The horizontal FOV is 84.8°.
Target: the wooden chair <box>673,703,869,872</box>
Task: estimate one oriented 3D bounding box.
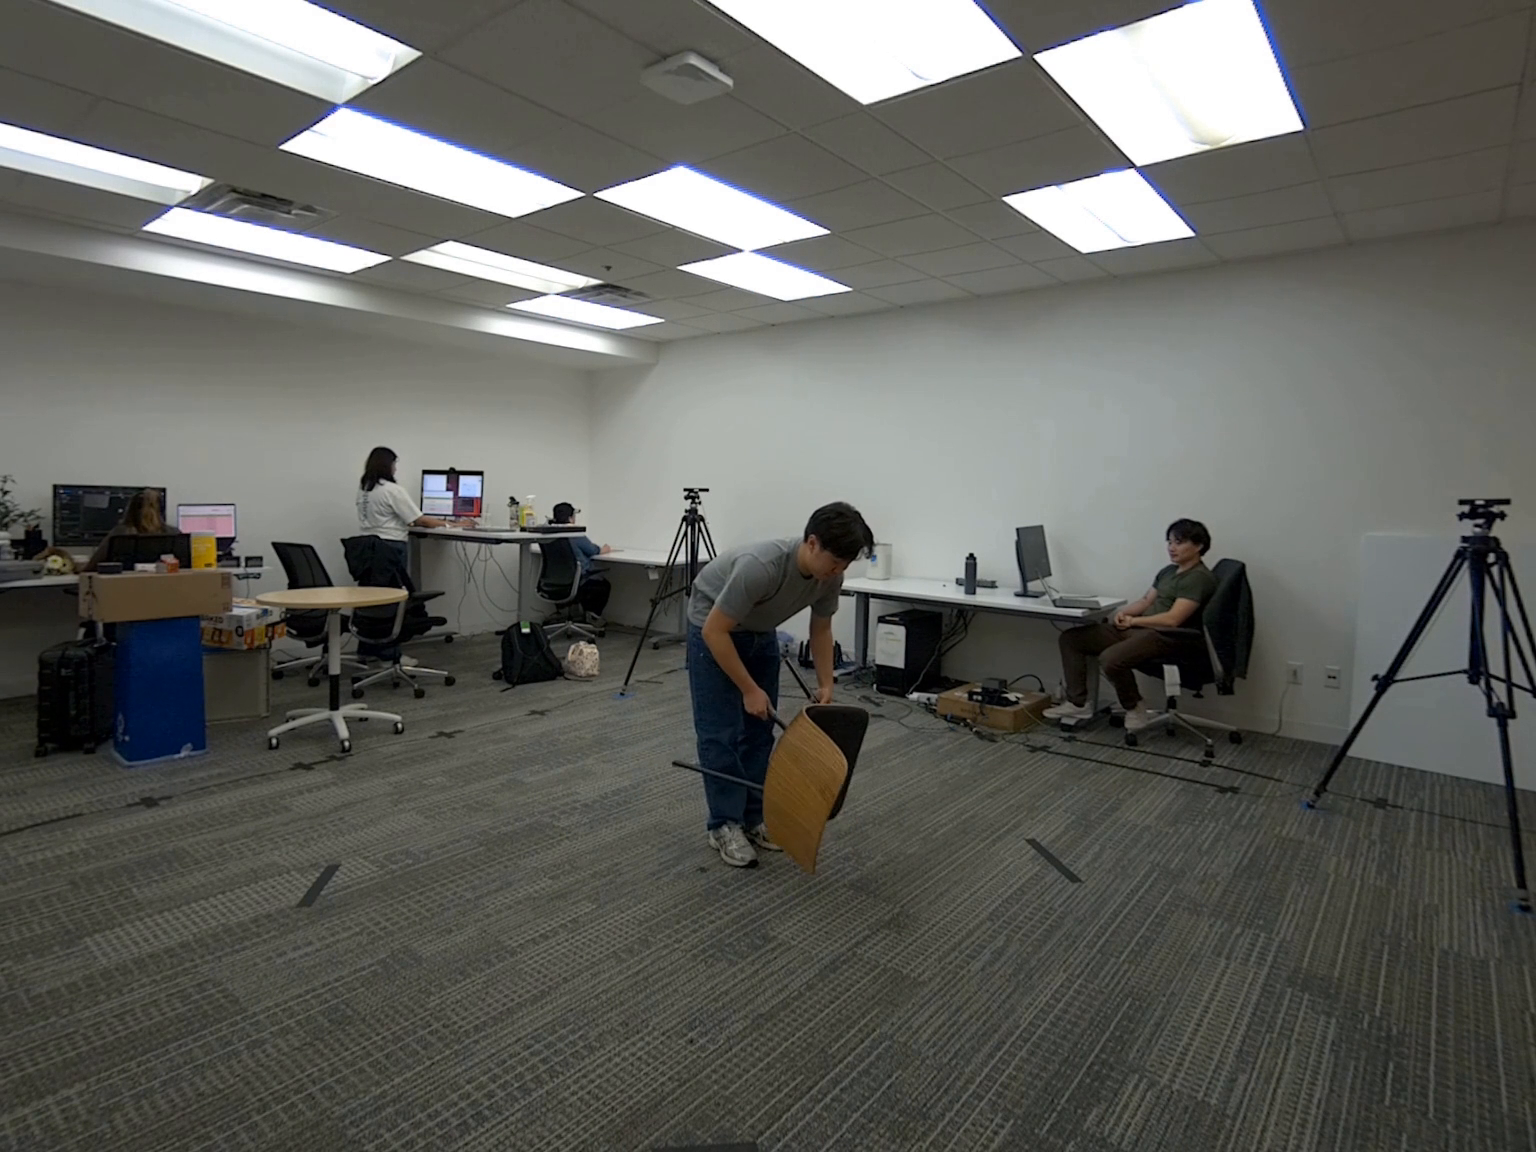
[{"bbox_3d":[0.115,0.665,3.064,0.505,0.475,0.913,10,11,-36],"label":"wooden chair"}]
